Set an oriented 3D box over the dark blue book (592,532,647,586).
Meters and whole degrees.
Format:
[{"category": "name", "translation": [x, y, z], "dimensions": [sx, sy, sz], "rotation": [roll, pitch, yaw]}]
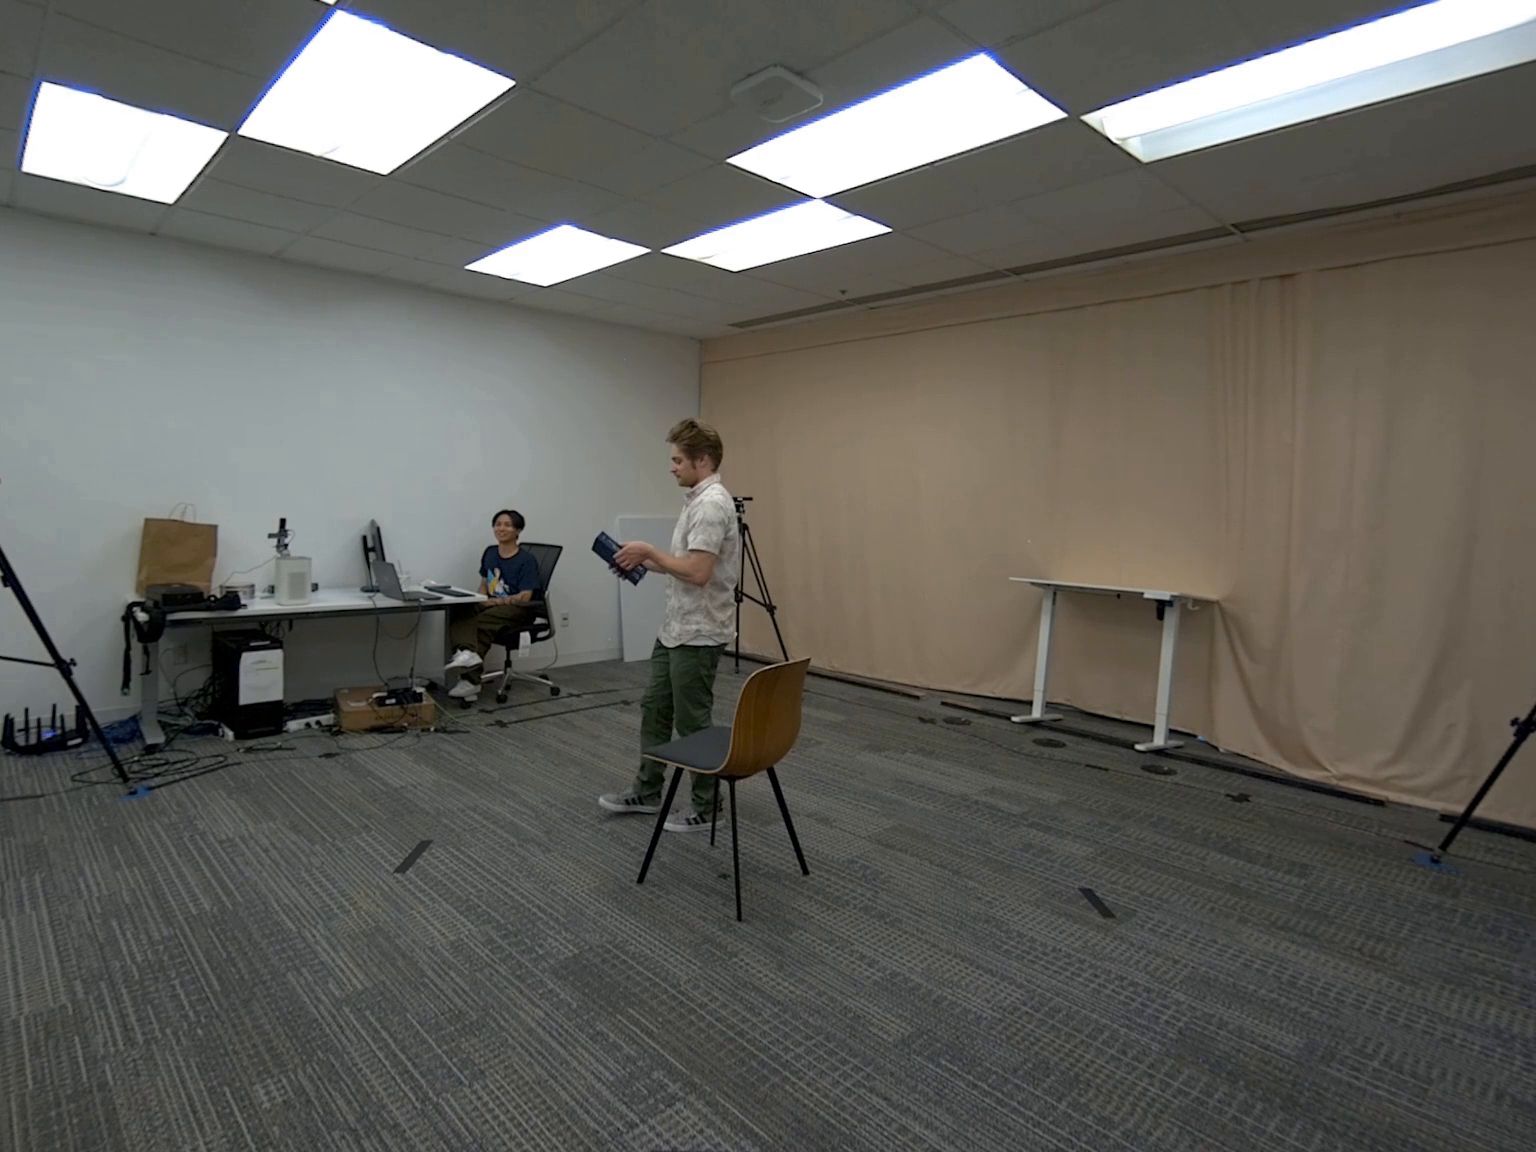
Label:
[{"category": "dark blue book", "translation": [-0.620, -0.071, 3.478], "dimensions": [0.245, 0.045, 0.163], "rotation": [39, -24, -1]}]
